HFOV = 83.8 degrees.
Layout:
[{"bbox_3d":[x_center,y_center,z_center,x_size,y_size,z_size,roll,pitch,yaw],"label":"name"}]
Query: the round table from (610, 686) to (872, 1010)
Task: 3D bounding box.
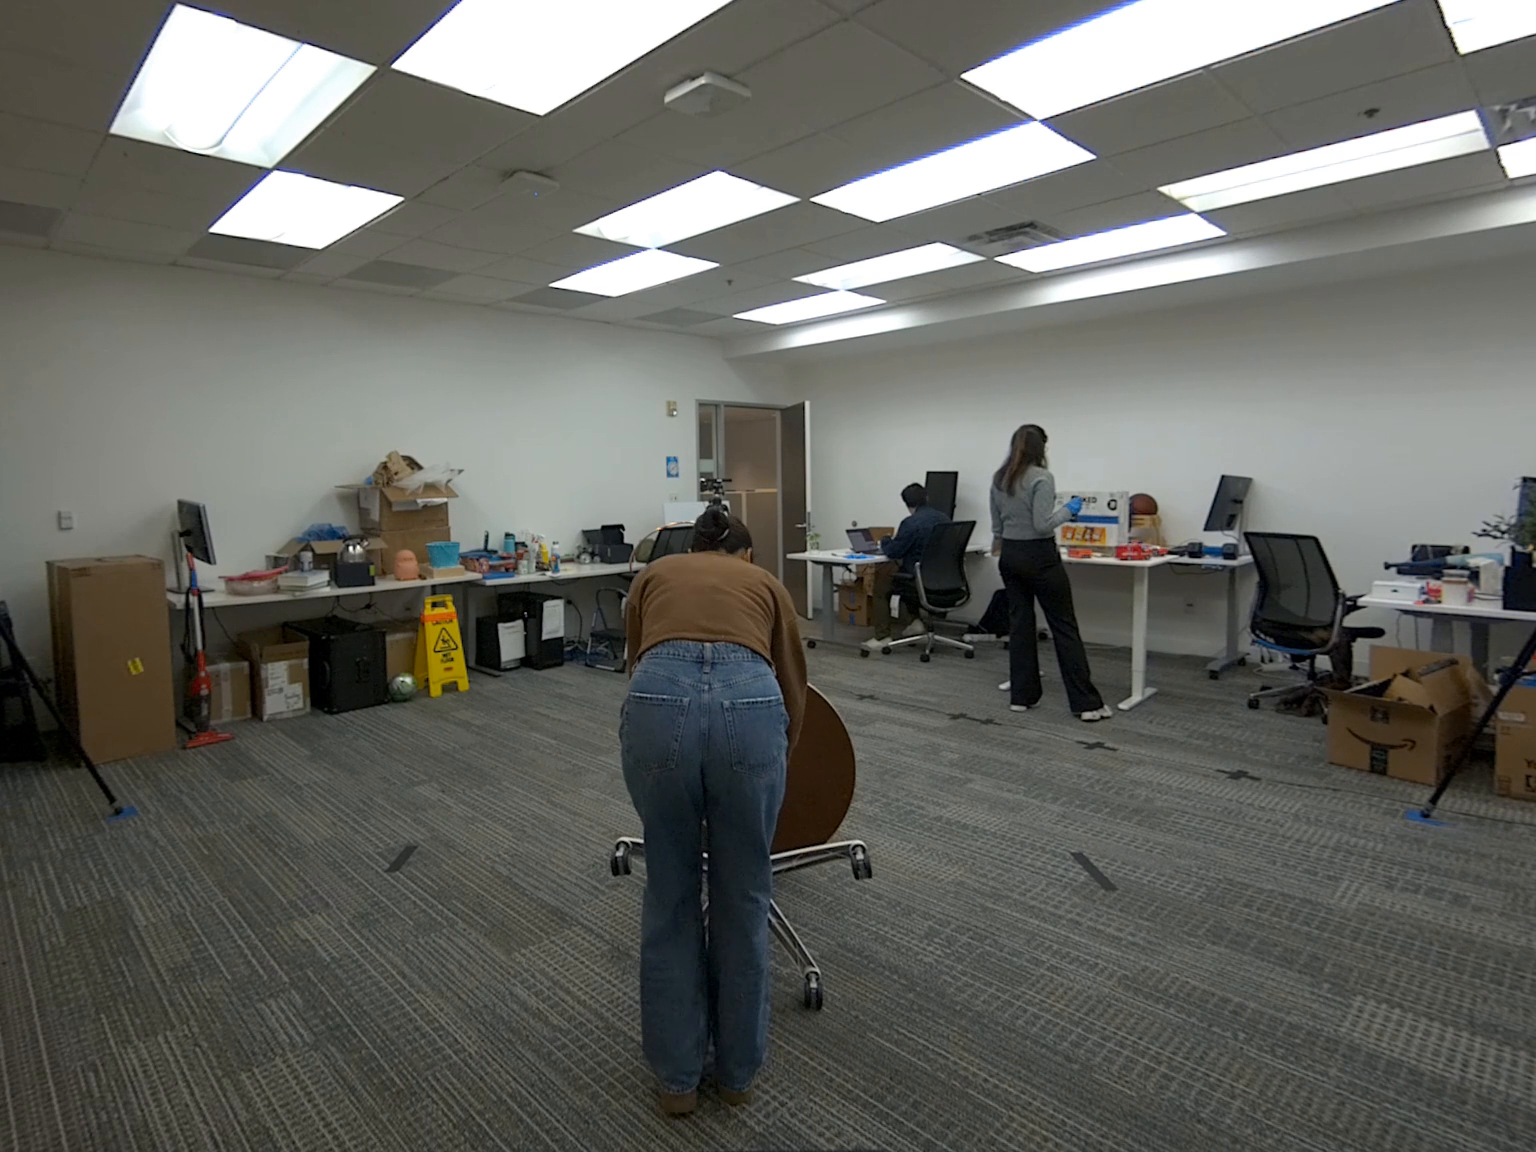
[{"bbox_3d":[-0.078,0.758,2.596,0.766,0.757,0.799,-1,10,2],"label":"round table"}]
